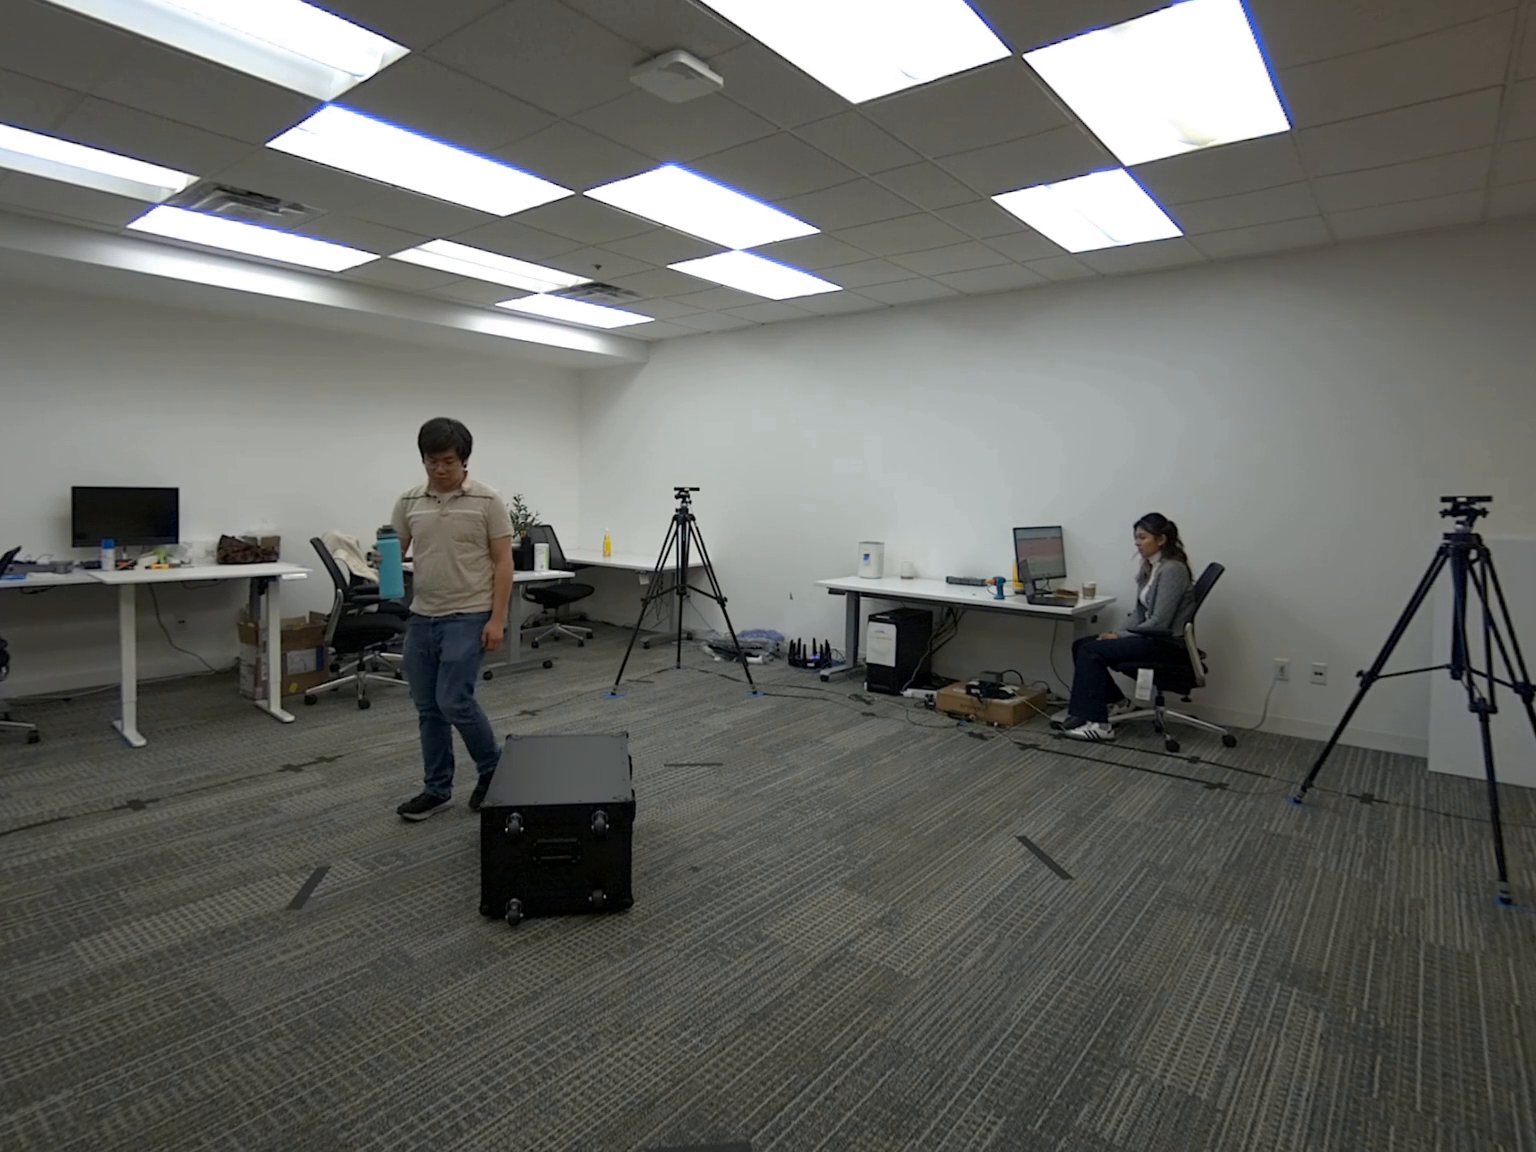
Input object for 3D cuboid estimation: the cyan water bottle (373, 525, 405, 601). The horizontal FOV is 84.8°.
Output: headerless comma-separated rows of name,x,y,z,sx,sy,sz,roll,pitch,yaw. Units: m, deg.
cyan water bottle,-1.502,-0.062,3.305,0.092,0.282,0.093,-2,4,-2
